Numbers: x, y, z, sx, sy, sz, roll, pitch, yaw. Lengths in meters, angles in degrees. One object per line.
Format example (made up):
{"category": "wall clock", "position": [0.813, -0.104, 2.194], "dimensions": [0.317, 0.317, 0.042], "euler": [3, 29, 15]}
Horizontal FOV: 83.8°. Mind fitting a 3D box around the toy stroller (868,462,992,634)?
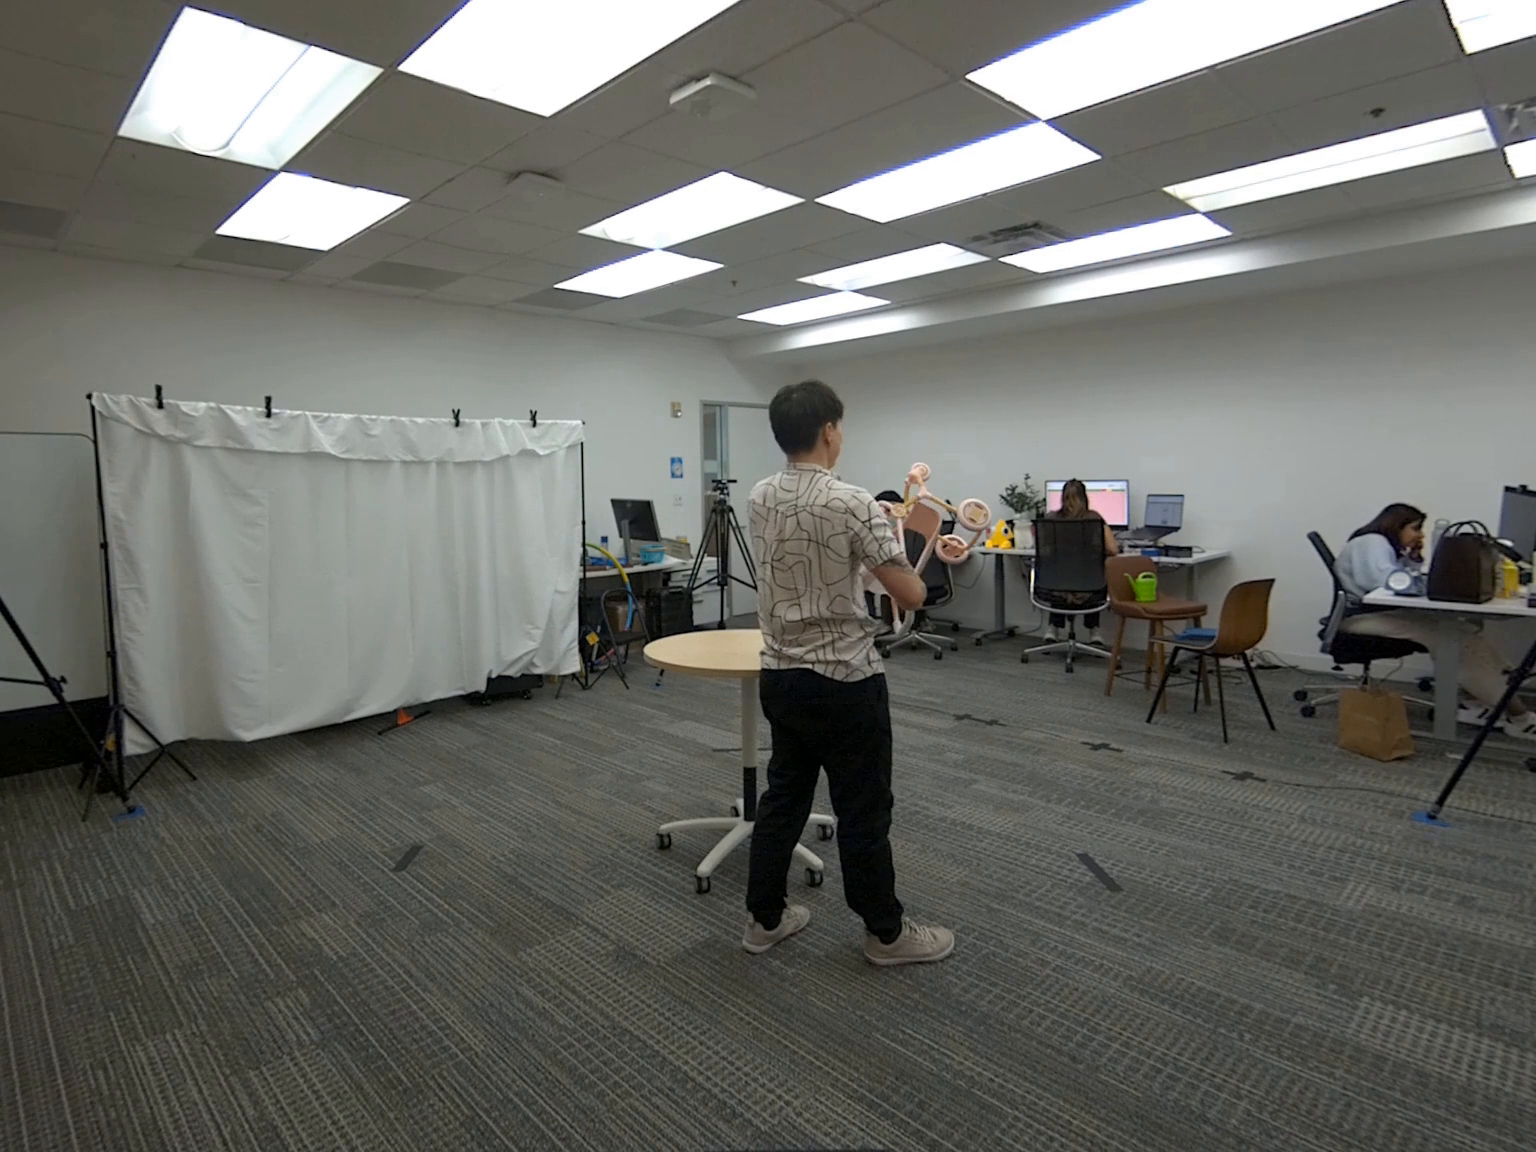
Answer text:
{"category": "toy stroller", "position": [0.461, -0.108, 2.753], "dimensions": [0.534, 0.347, 0.277], "euler": [-45, -11, -20]}
